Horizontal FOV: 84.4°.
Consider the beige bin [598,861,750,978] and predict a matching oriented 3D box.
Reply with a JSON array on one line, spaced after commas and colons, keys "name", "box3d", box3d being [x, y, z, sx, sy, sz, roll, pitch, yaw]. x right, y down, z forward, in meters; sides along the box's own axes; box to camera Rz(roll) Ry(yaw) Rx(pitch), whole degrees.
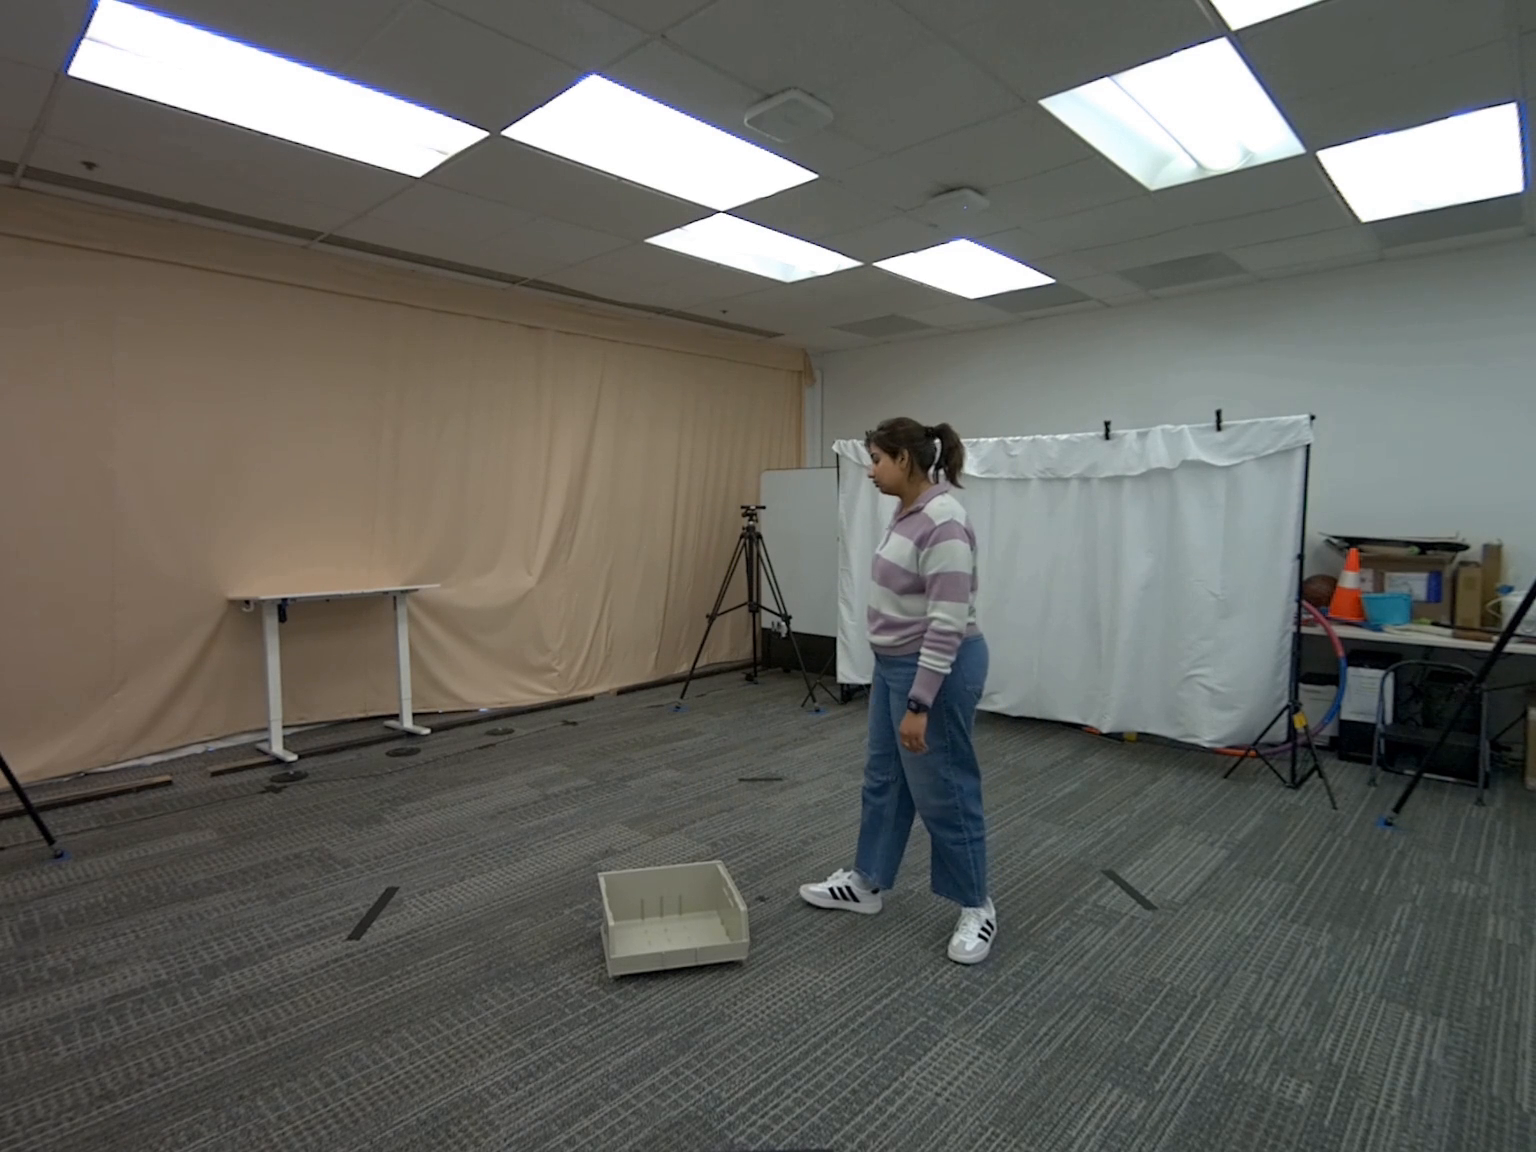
[{"name": "beige bin", "box3d": [-0.306, 1.087, 2.658, 0.416, 0.188, 0.384, -2, 4, -14]}]
